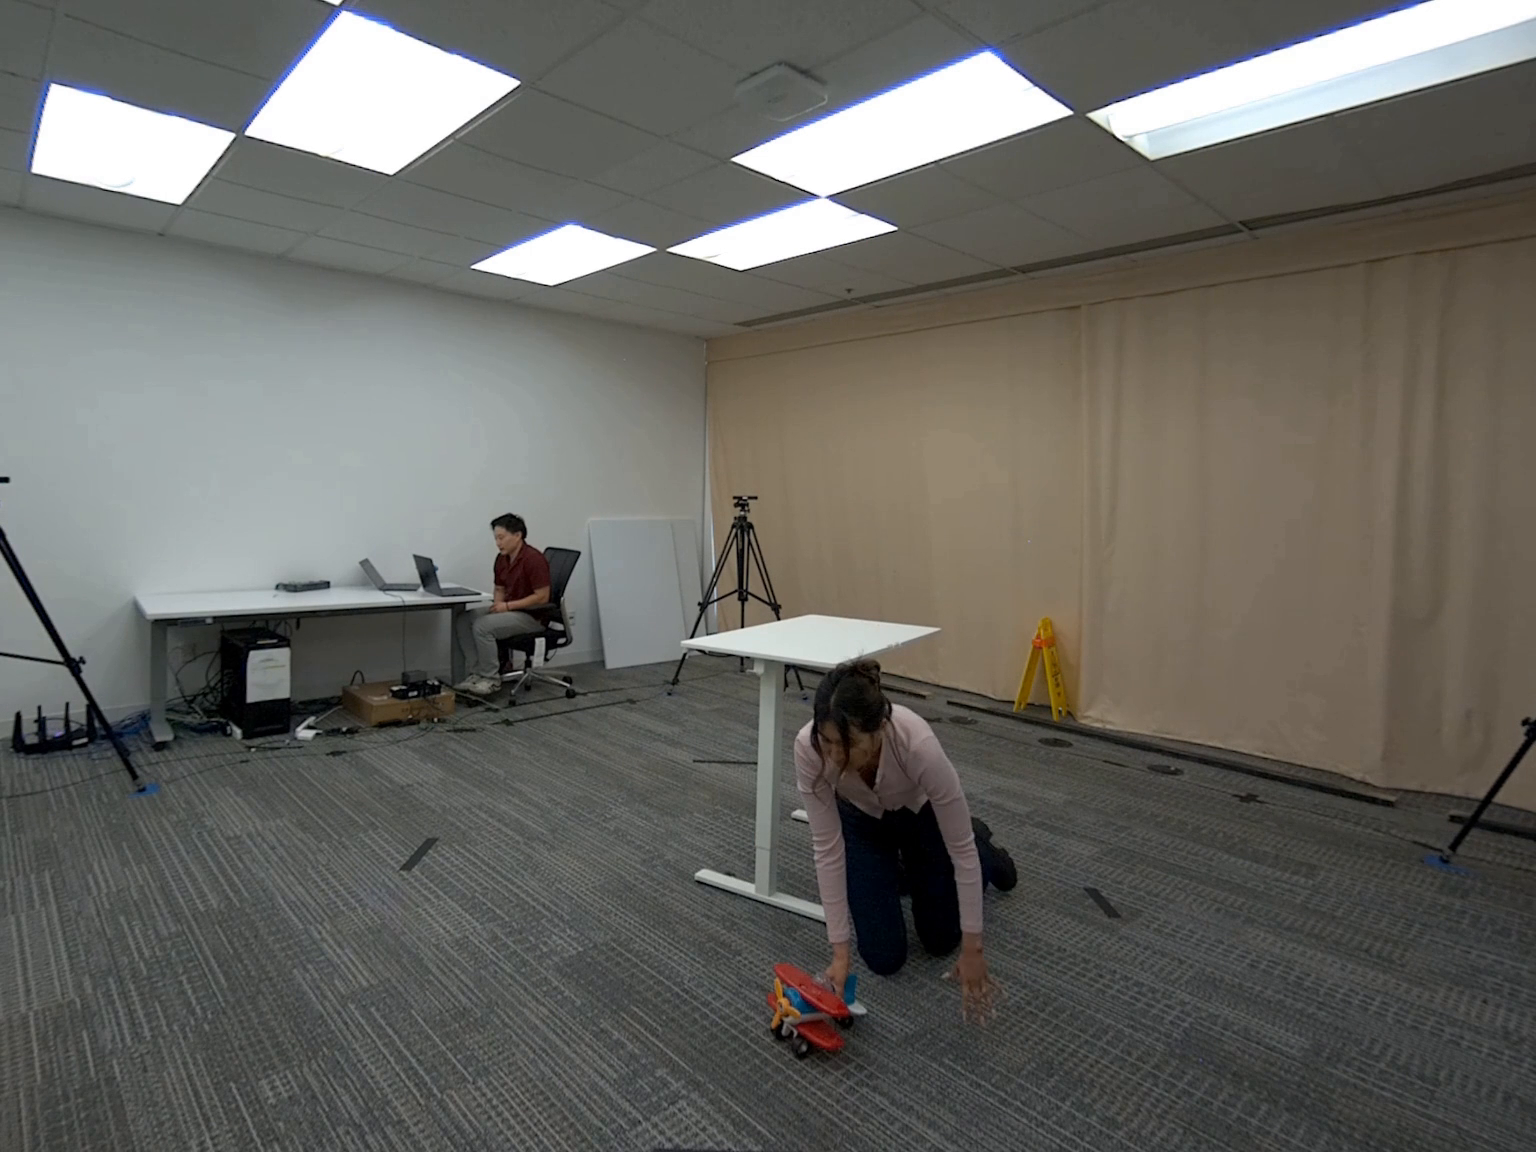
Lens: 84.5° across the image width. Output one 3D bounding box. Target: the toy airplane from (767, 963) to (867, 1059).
[{"bbox_3d":[0.103,1.124,2.190,0.256,0.156,0.255,4,6,25],"label":"toy airplane"}]
